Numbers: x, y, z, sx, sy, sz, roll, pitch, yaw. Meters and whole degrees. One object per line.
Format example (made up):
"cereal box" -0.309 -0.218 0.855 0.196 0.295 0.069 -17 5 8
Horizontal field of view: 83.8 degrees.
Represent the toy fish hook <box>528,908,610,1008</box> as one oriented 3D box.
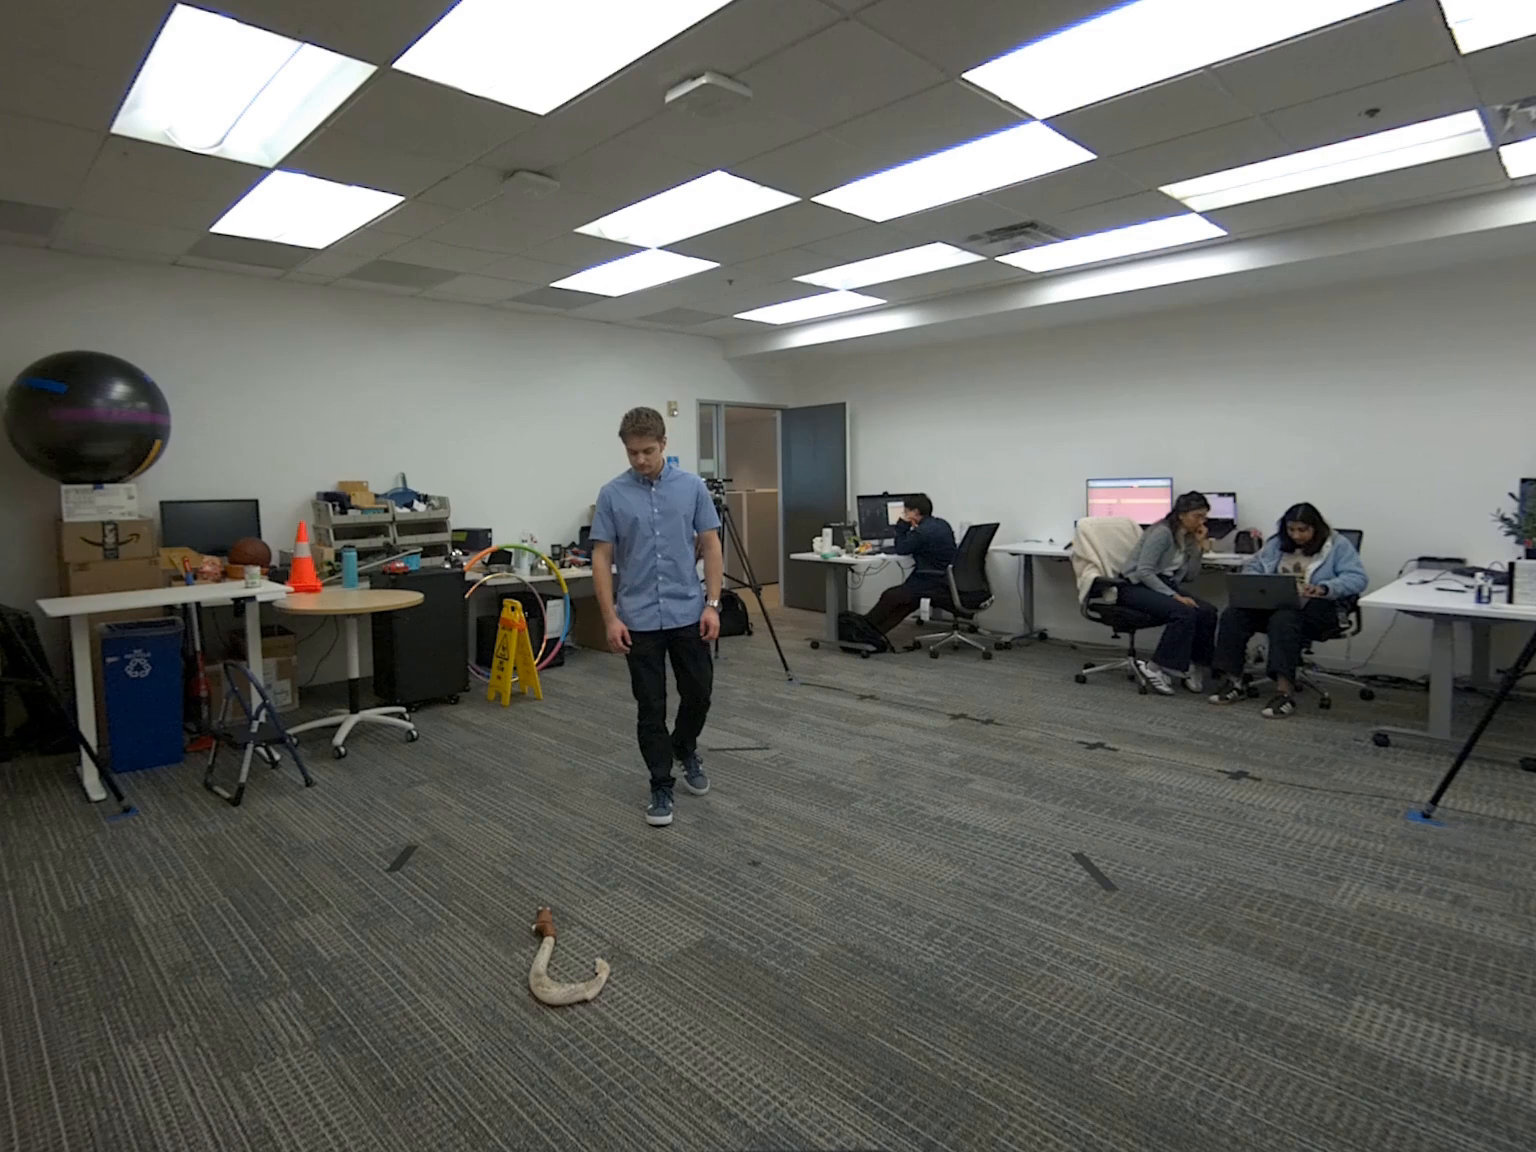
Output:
"toy fish hook" -0.595 1.112 2.523 0.221 0.048 0.517 5 6 -18
